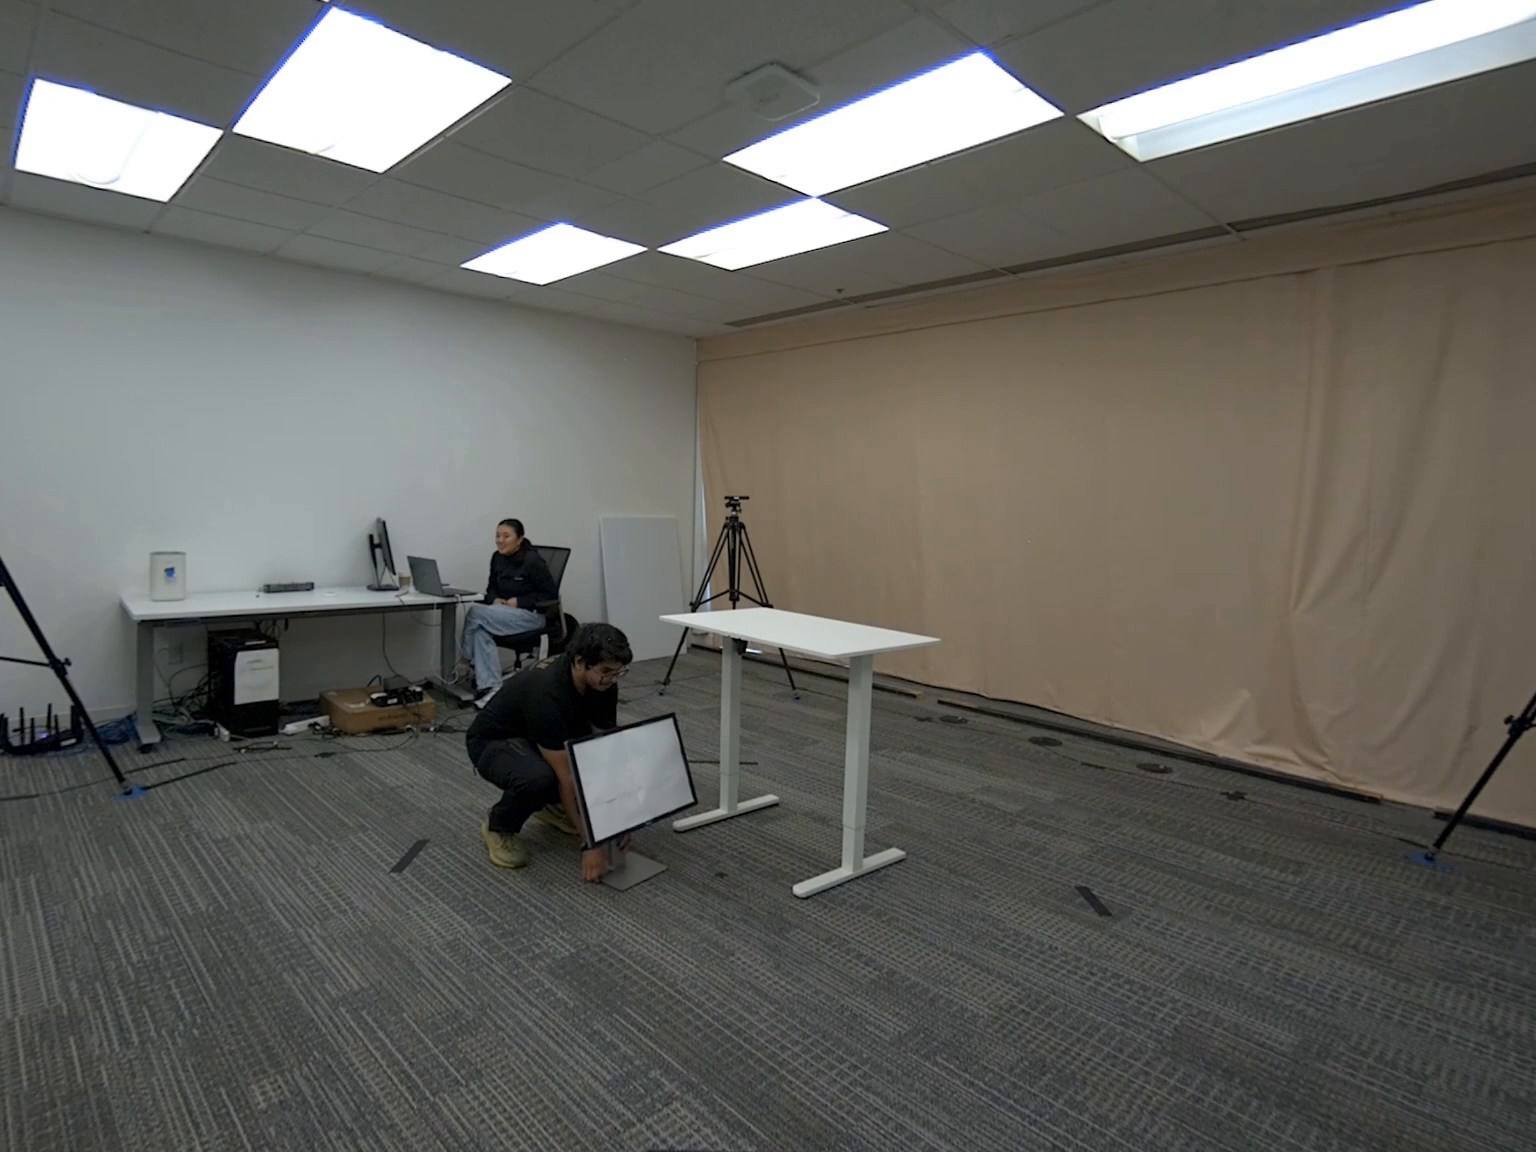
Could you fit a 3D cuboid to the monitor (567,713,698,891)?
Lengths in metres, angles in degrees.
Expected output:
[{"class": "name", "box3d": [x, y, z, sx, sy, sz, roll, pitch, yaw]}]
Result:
[{"class": "monitor", "box3d": [-0.546, 0.825, 3.110, 0.214, 0.555, 0.553, -8, -3, 37]}]
